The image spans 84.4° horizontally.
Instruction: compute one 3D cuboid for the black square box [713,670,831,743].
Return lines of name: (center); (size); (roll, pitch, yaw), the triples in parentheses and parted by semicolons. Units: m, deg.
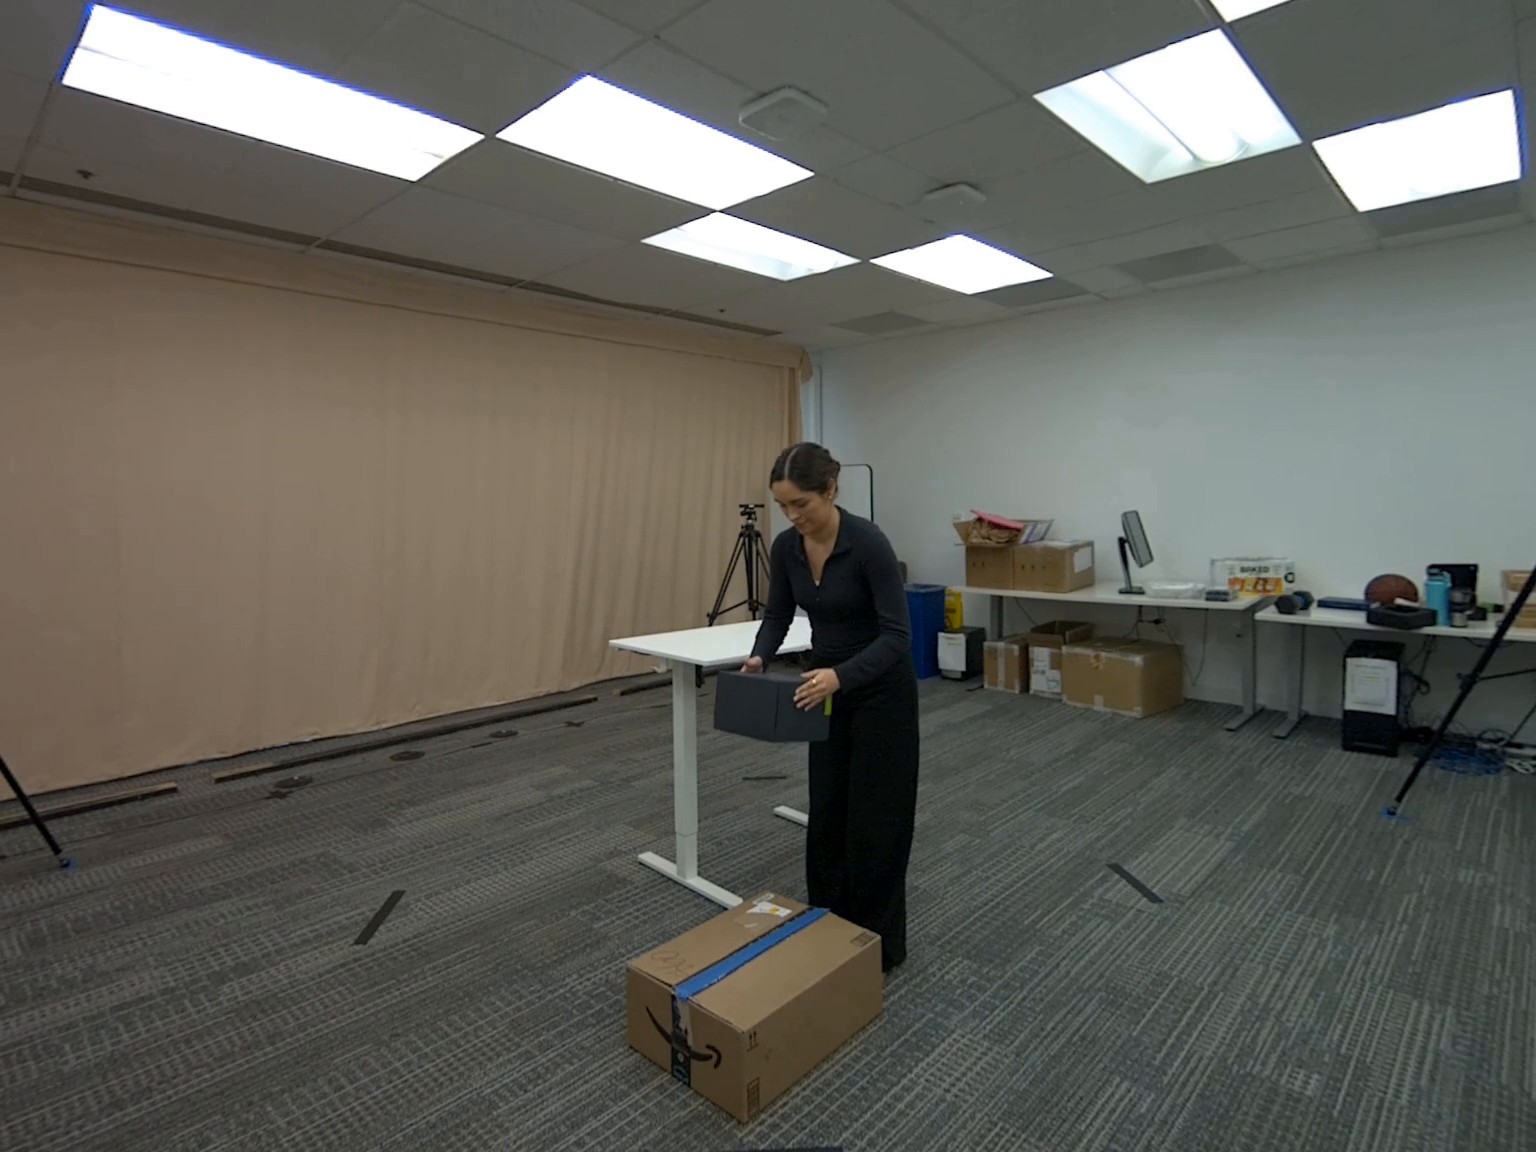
black square box: (0.016, 0.353, 2.259); (0.209, 0.156, 0.235); (9, -6, -44)
